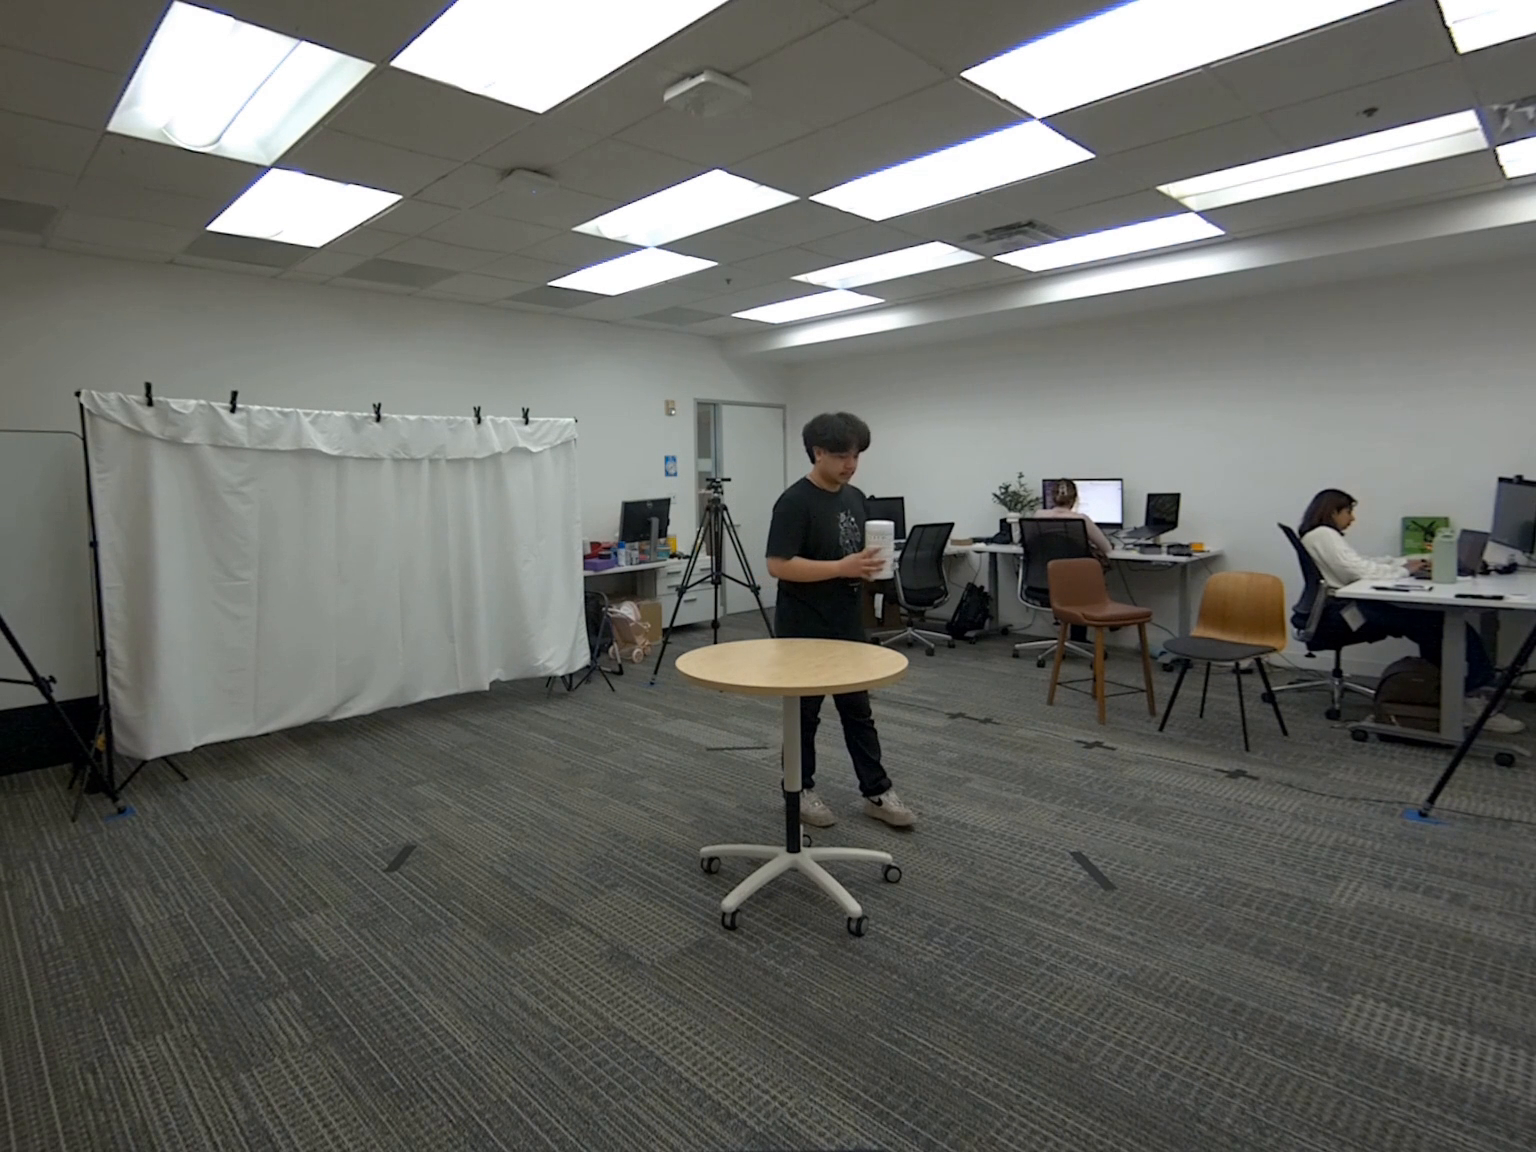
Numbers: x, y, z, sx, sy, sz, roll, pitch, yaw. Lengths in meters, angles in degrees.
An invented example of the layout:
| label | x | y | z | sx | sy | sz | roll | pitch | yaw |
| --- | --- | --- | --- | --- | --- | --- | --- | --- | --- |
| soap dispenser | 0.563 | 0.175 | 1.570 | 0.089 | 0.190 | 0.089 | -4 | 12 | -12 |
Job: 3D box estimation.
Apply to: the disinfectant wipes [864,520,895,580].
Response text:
| label | x | y | z | sx | sy | sz | roll | pitch | yaw |
| --- | --- | --- | --- | --- | --- | --- | --- | --- | --- |
| disinfectant wipes | 0.417 | -0.101 | 3.279 | 0.118 | 0.216 | 0.118 | 0 | 7 | -2 |
